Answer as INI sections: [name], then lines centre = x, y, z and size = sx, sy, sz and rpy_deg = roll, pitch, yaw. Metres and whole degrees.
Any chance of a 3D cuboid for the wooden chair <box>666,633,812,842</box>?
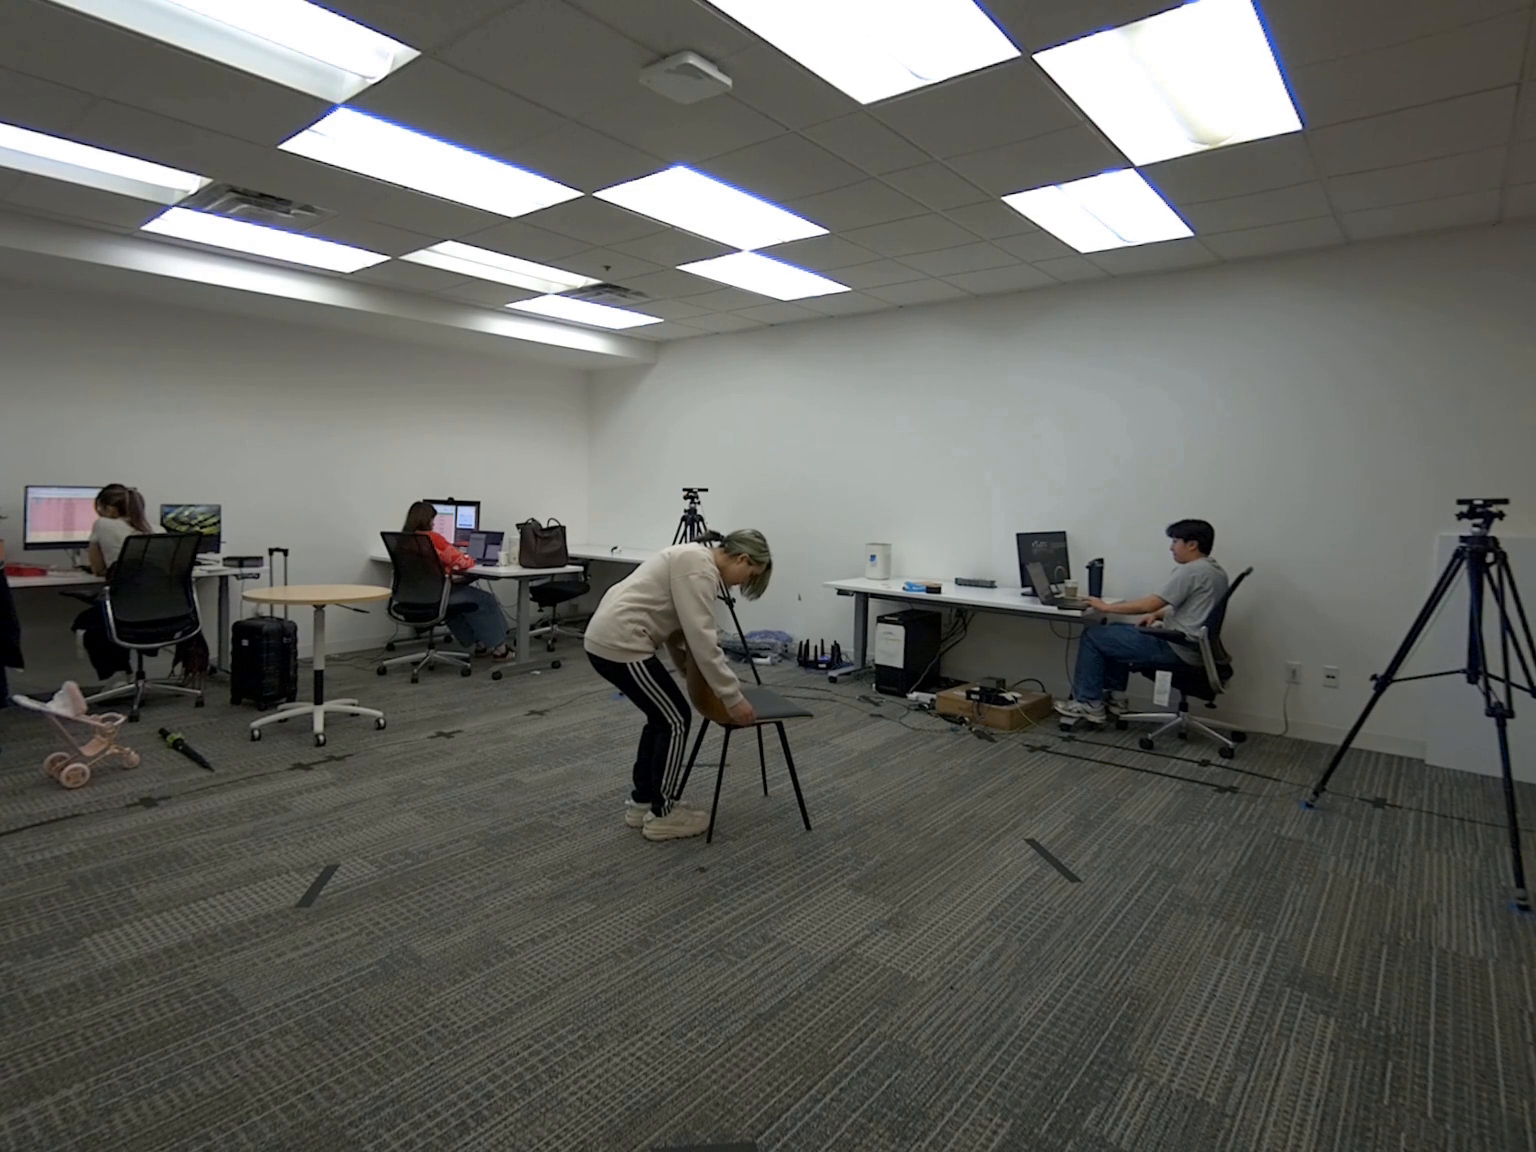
[wooden chair]
centre = -0.105, 0.599, 3.593
size = 0.513, 0.874, 0.490
rpy_deg = -5, 5, -22
